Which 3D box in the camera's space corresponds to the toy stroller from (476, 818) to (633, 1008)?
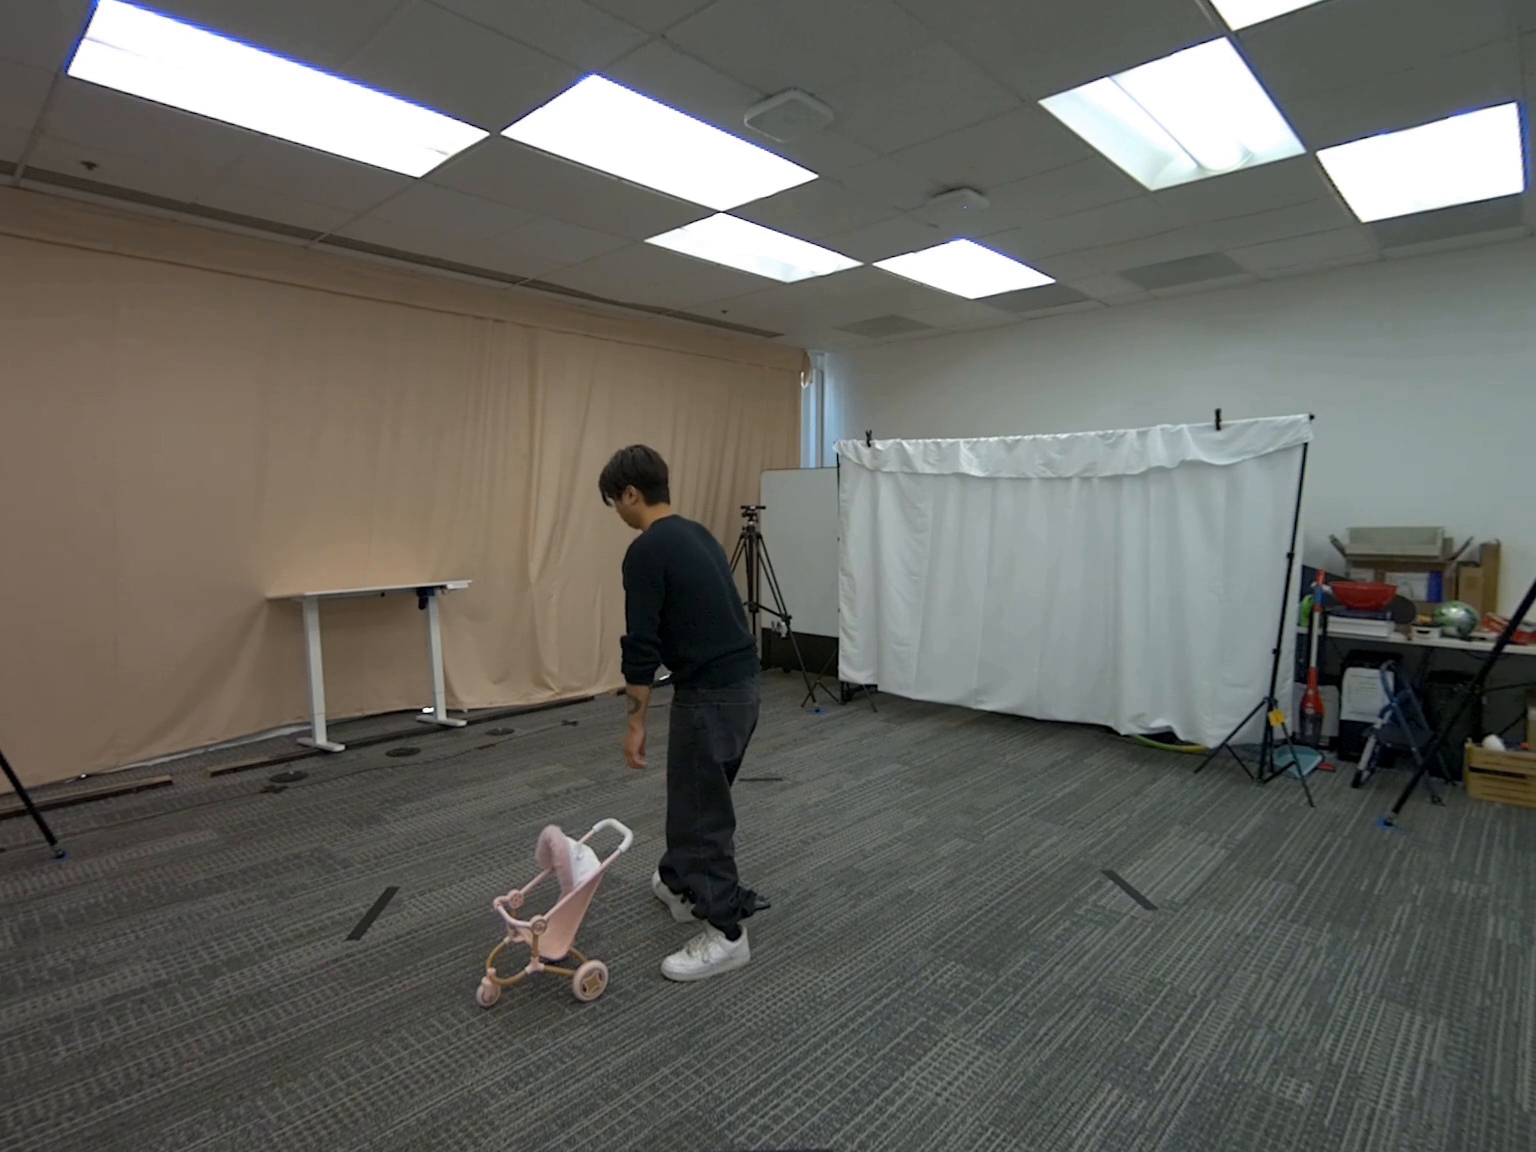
[{"bbox_3d":[-0.626,0.973,2.438,0.331,0.536,0.289,17,-5,-29],"label":"toy stroller"}]
